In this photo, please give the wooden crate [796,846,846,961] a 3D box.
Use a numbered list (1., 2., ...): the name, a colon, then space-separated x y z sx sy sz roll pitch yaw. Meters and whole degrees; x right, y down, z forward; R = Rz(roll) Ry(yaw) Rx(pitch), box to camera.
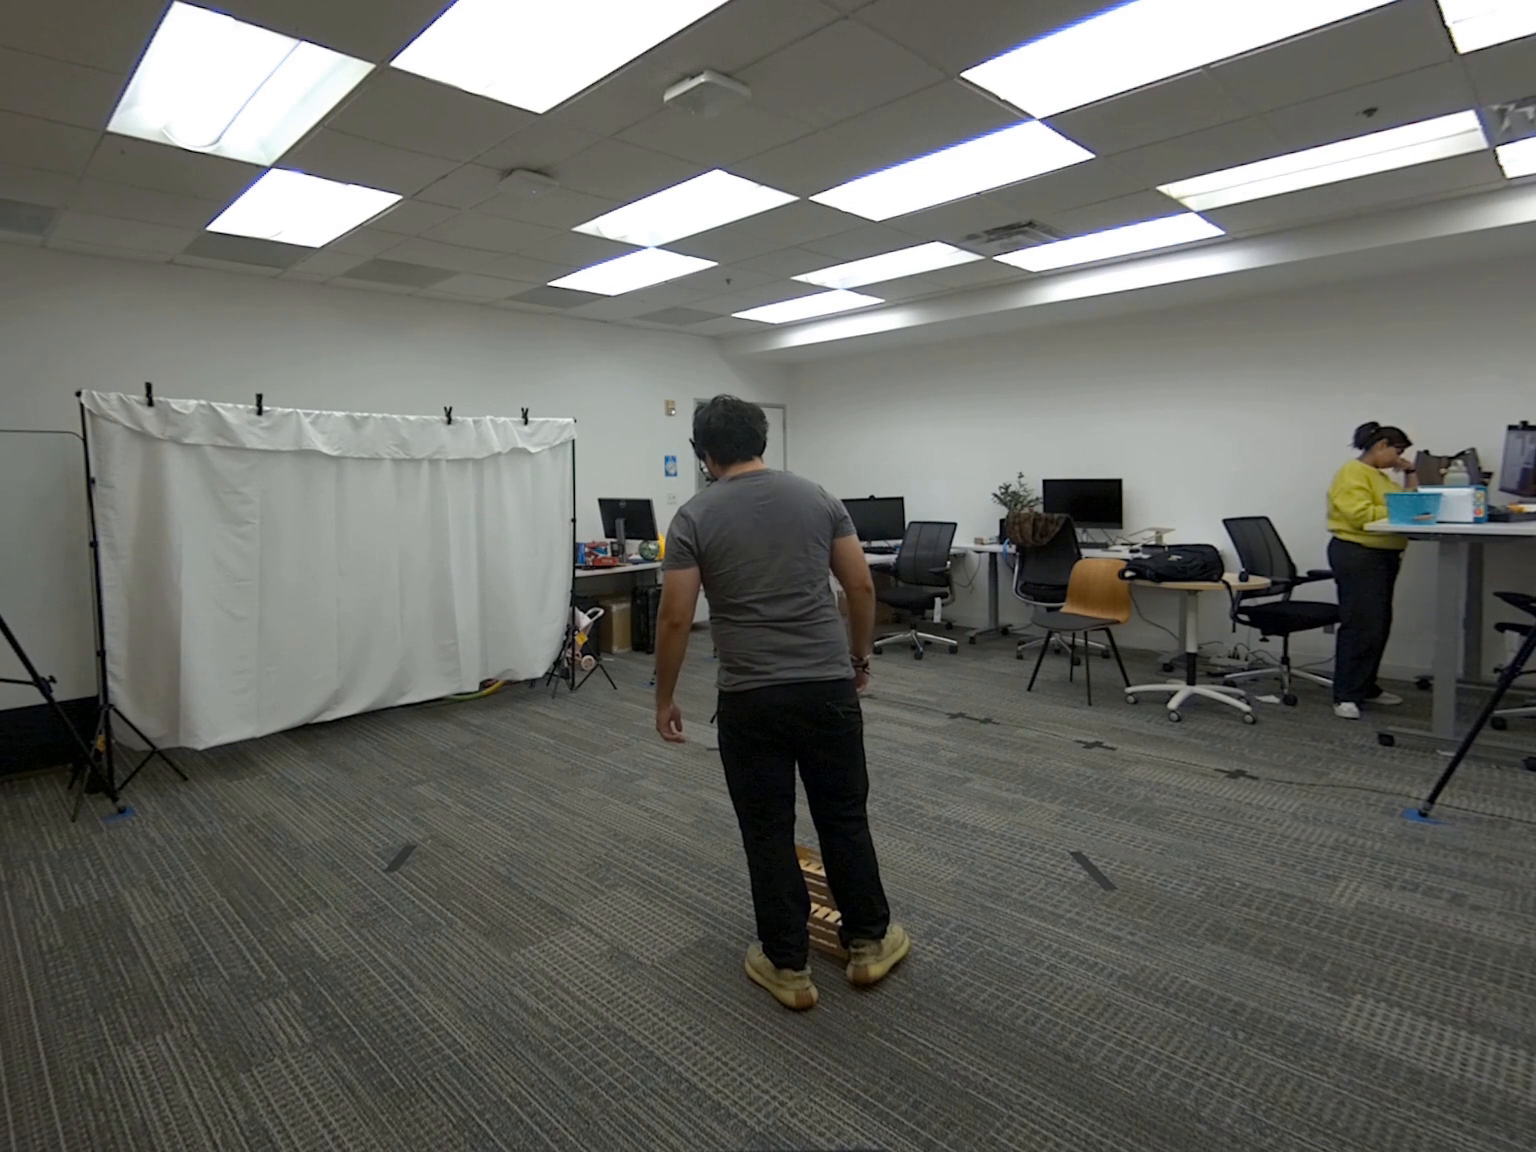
1. wooden crate: 0.181 0.963 2.624 0.334 0.272 0.295 3 8 36
